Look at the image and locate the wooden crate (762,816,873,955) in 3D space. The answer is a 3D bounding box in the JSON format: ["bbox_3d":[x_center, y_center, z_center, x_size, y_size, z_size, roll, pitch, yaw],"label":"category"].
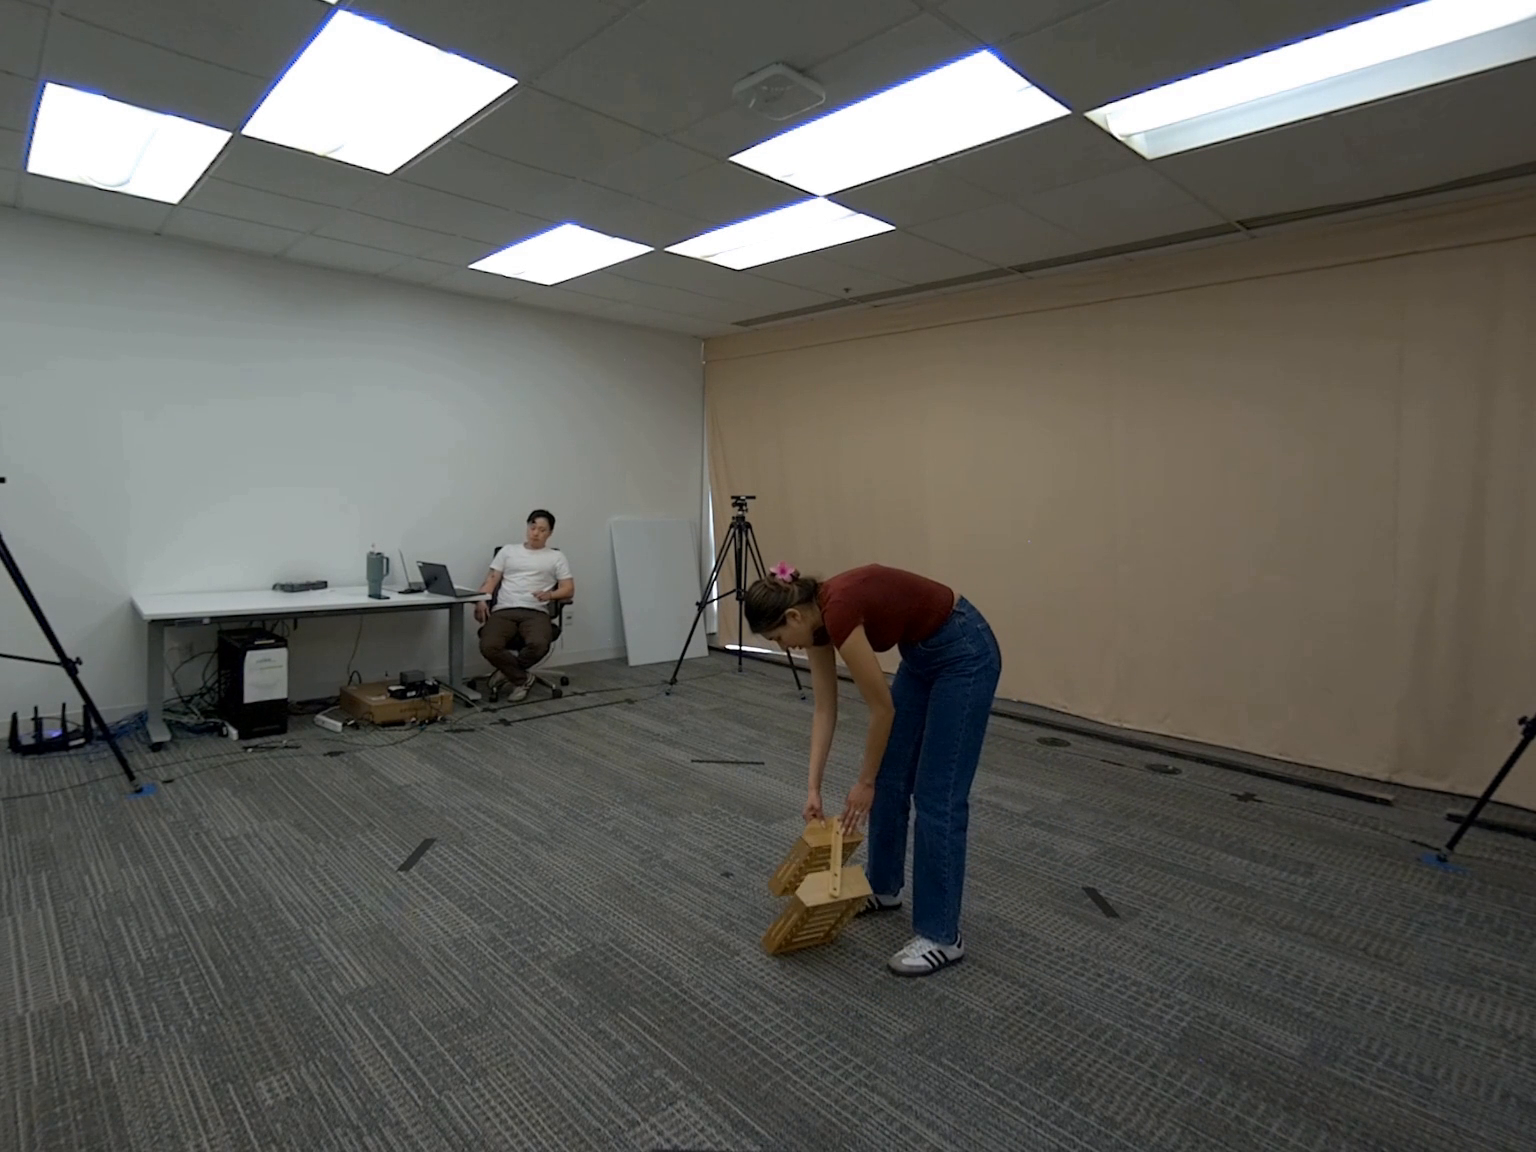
[{"bbox_3d":[0.118,0.947,2.616,0.296,0.321,0.281,2,42,-29],"label":"wooden crate"}]
